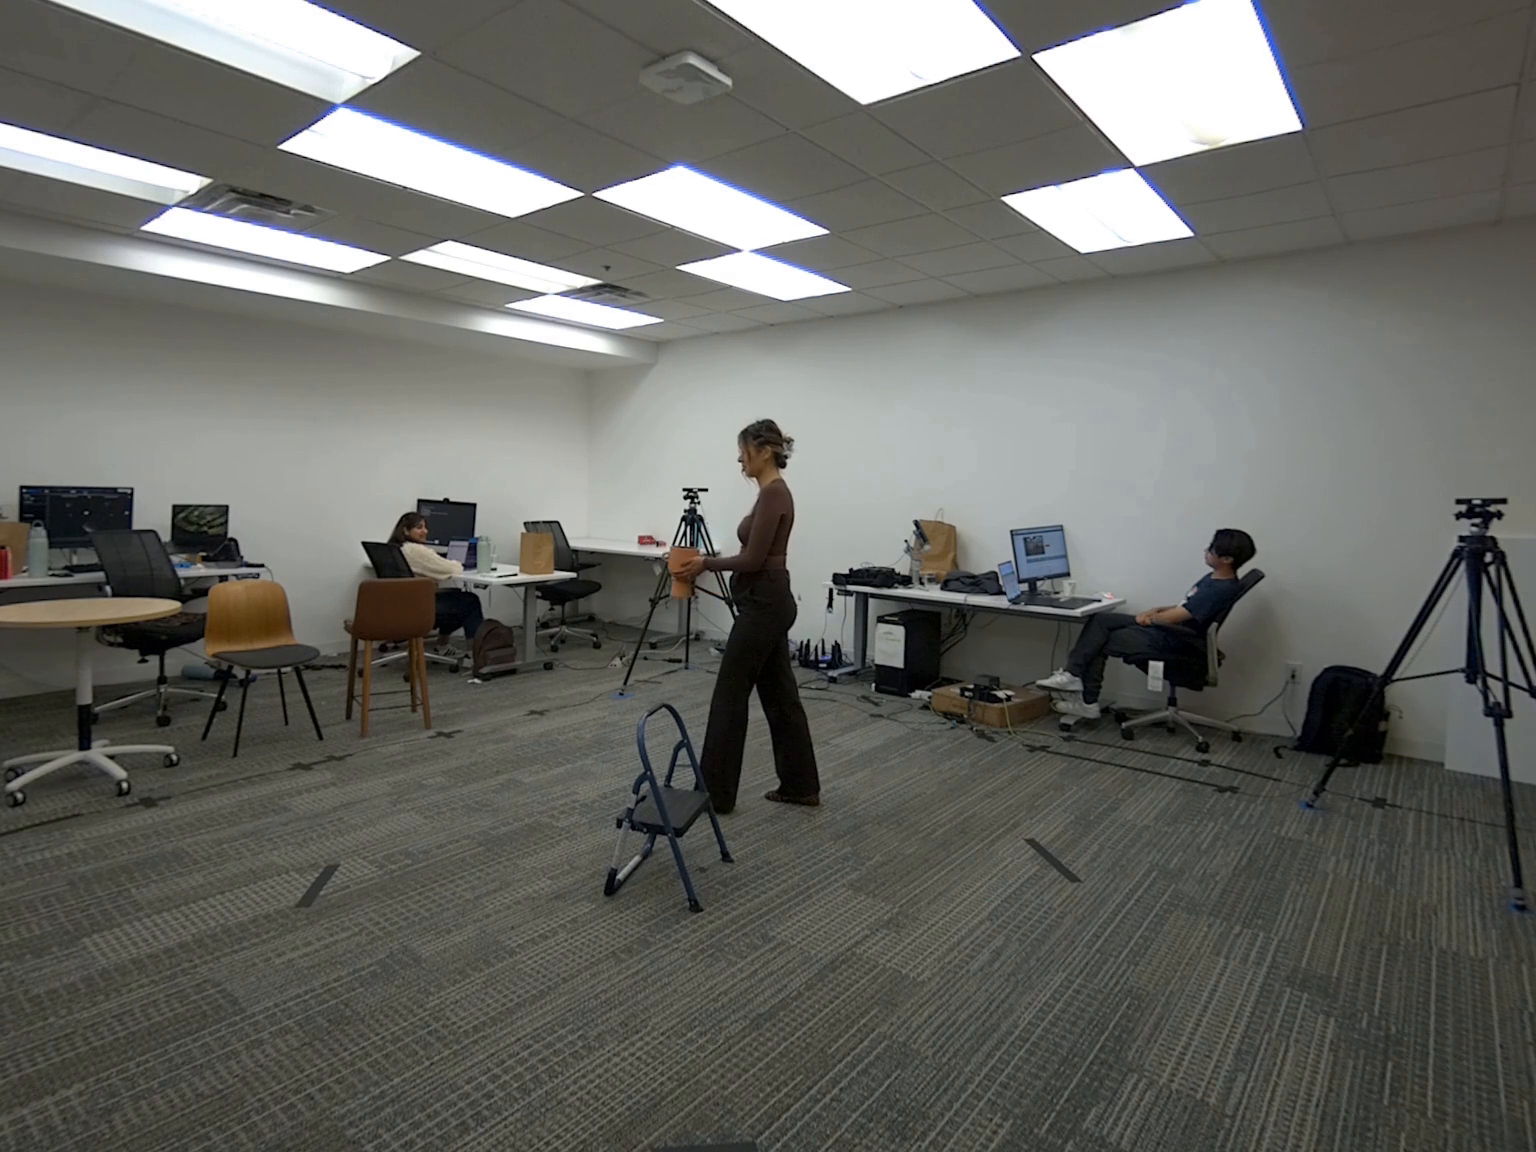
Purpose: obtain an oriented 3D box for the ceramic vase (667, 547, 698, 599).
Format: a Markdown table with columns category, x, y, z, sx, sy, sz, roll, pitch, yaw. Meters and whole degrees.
| category | x | y | z | sx | sy | sz | roll | pitch | yaw |
| --- | --- | --- | --- | --- | --- | --- | --- | --- | --- |
| ceramic vase | -0.390 | -0.025 | 3.776 | 0.164 | 0.219 | 0.130 | 7 | 4 | 35 |
